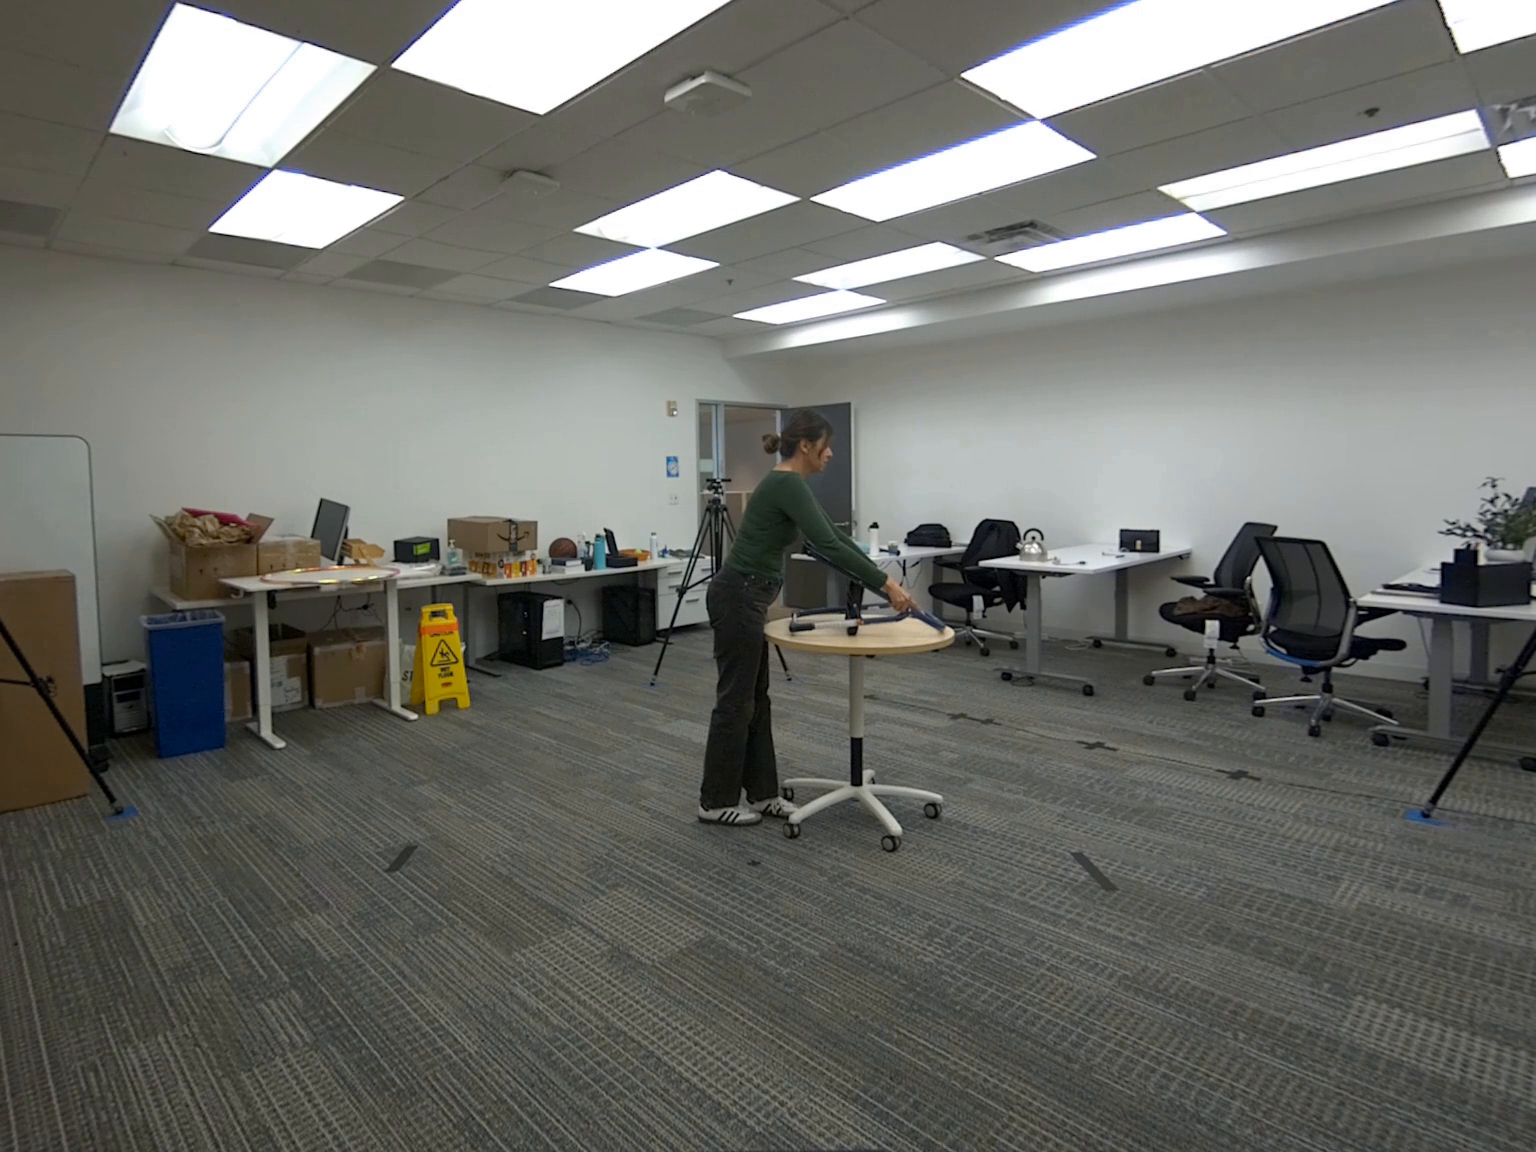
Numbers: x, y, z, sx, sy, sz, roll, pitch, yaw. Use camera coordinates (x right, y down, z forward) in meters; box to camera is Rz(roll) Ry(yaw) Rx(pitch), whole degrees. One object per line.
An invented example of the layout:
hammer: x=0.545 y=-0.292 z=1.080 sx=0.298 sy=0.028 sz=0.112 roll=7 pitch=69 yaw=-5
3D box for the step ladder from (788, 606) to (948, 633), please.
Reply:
step ladder: x=0.413 y=0.076 z=3.446 sx=0.610 sy=0.348 sz=0.430 roll=10 pitch=7 yaw=5
